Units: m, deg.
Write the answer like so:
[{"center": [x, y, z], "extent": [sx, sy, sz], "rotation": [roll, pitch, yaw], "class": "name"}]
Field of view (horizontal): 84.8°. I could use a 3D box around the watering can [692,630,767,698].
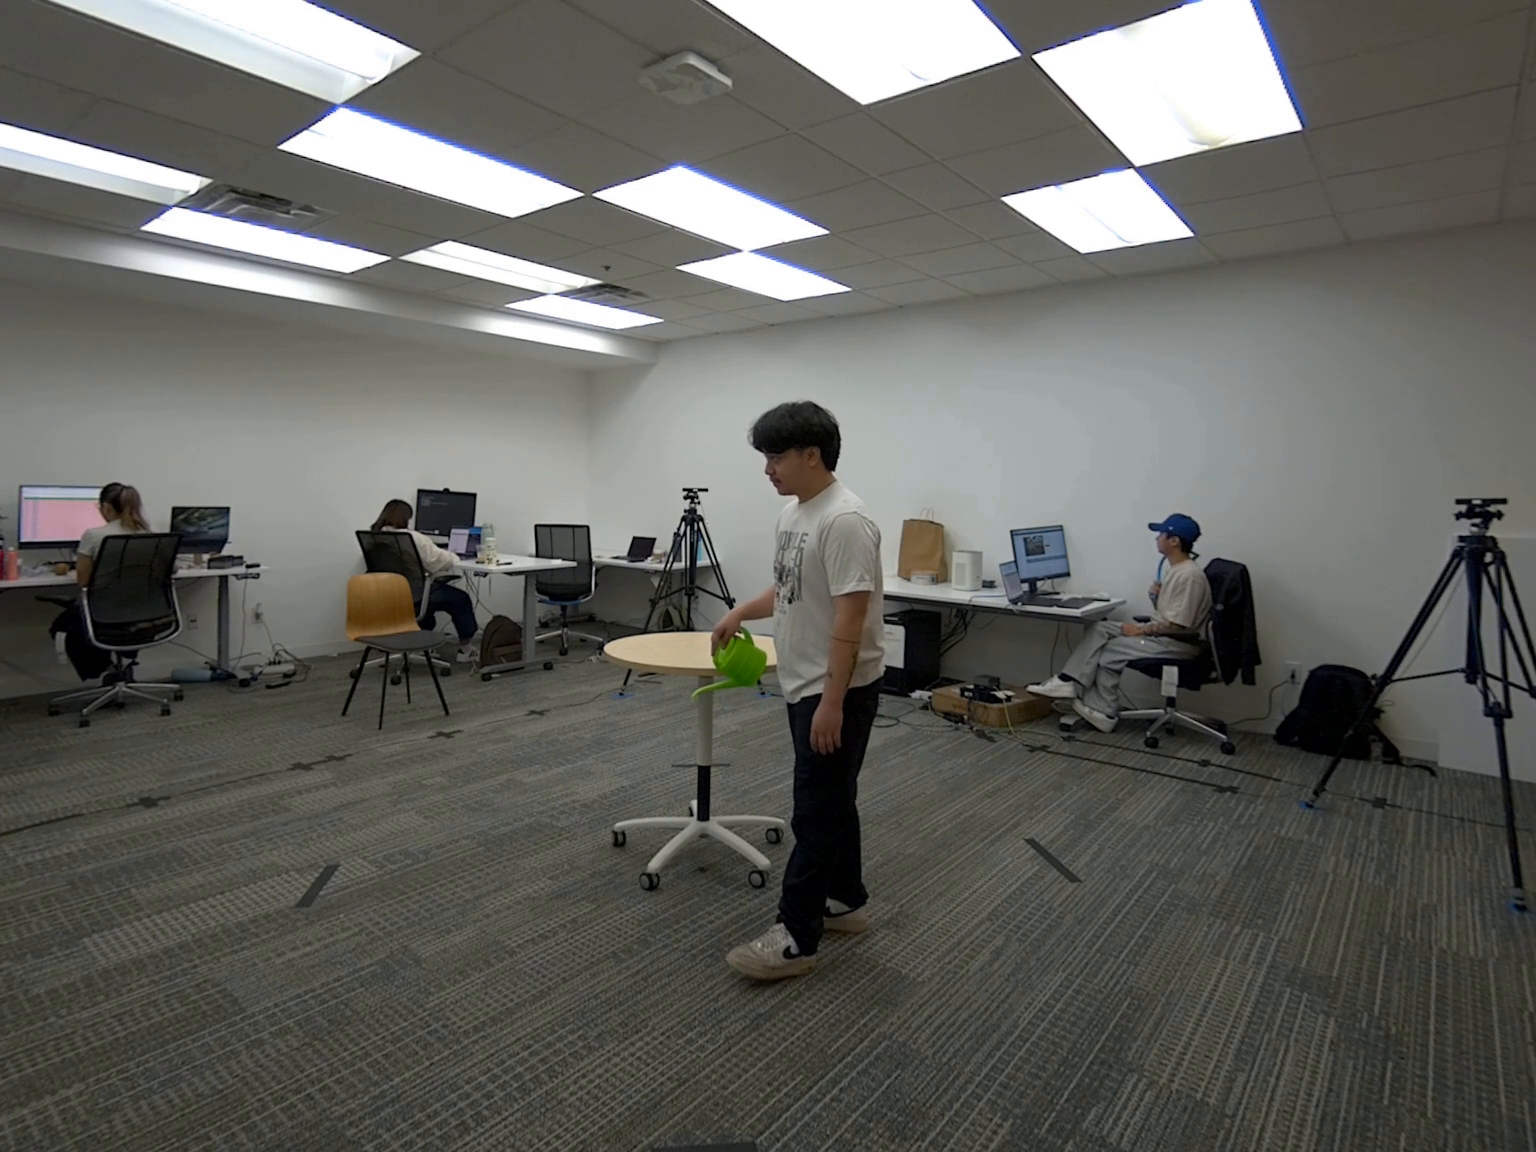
[{"center": [-0.133, 0.298, 2.749], "extent": [0.171, 0.278, 0.101], "rotation": [36, -3, -25], "class": "watering can"}]
